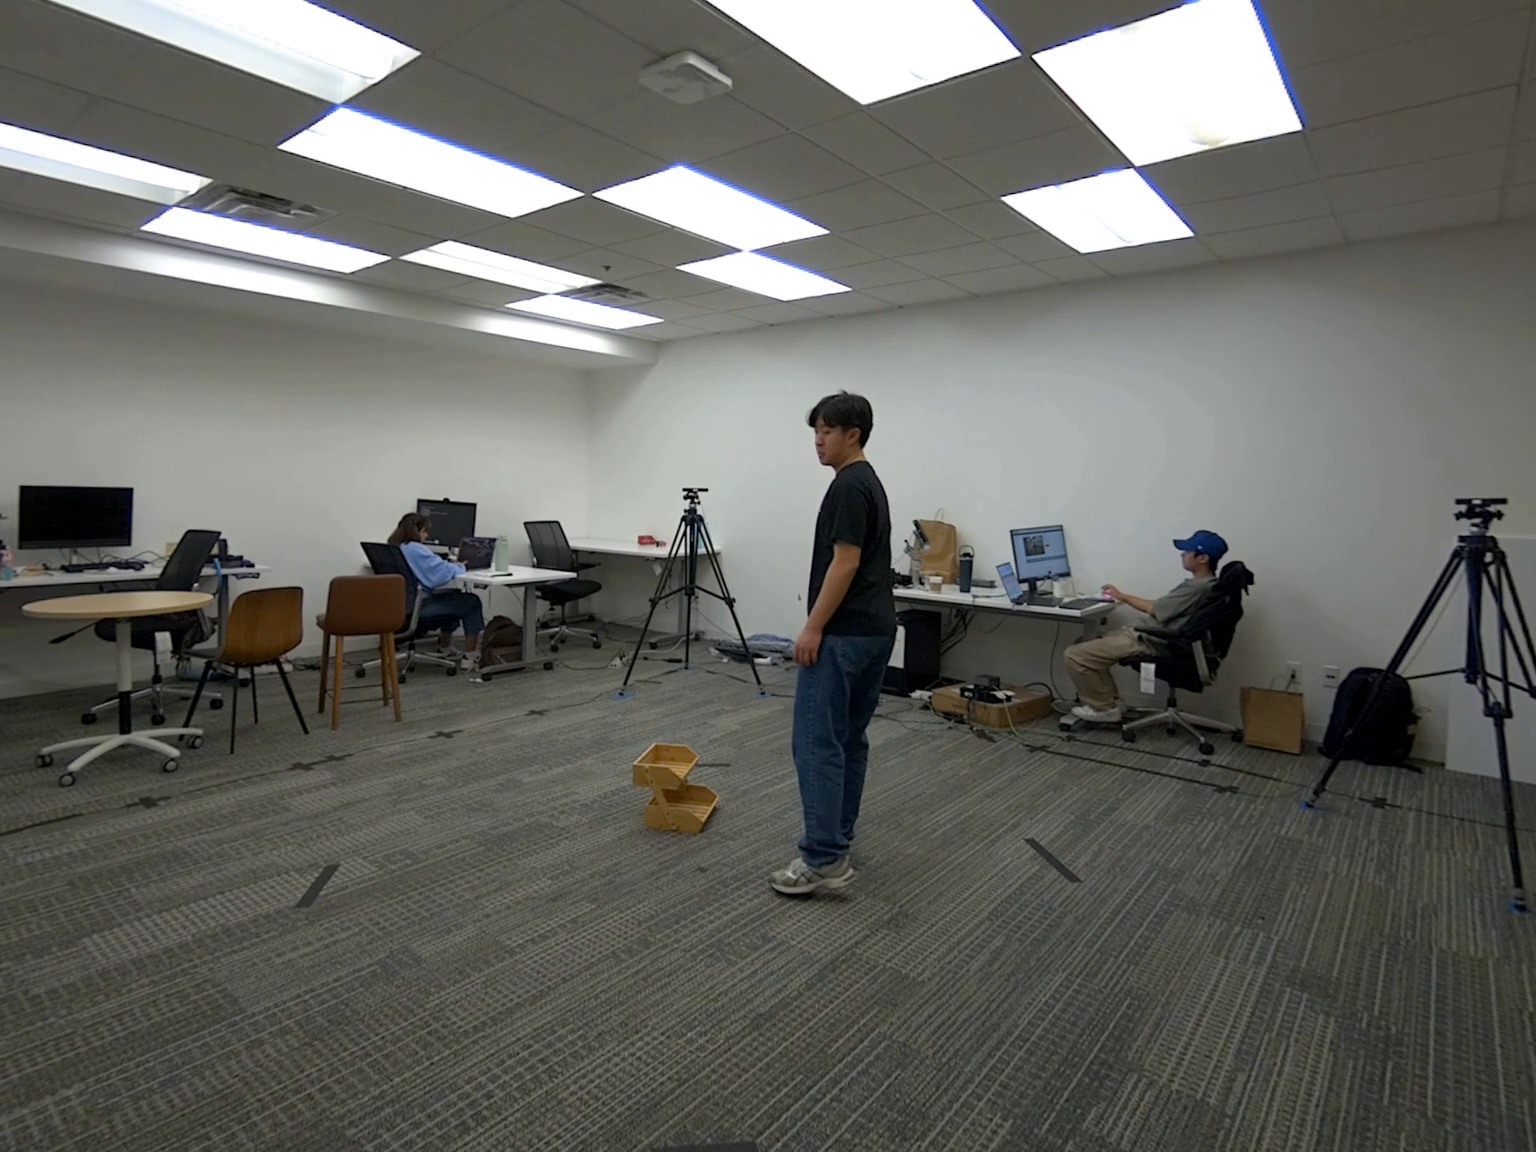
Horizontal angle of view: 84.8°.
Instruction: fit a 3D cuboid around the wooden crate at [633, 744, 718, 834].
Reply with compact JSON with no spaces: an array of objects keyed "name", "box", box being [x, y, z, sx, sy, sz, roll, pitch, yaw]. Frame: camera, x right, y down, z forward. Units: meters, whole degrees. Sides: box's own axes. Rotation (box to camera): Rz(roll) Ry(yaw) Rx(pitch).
[{"name":"wooden crate","box":[-0.391,0.884,3.609,0.306,0.272,0.321,1,4,11]}]
